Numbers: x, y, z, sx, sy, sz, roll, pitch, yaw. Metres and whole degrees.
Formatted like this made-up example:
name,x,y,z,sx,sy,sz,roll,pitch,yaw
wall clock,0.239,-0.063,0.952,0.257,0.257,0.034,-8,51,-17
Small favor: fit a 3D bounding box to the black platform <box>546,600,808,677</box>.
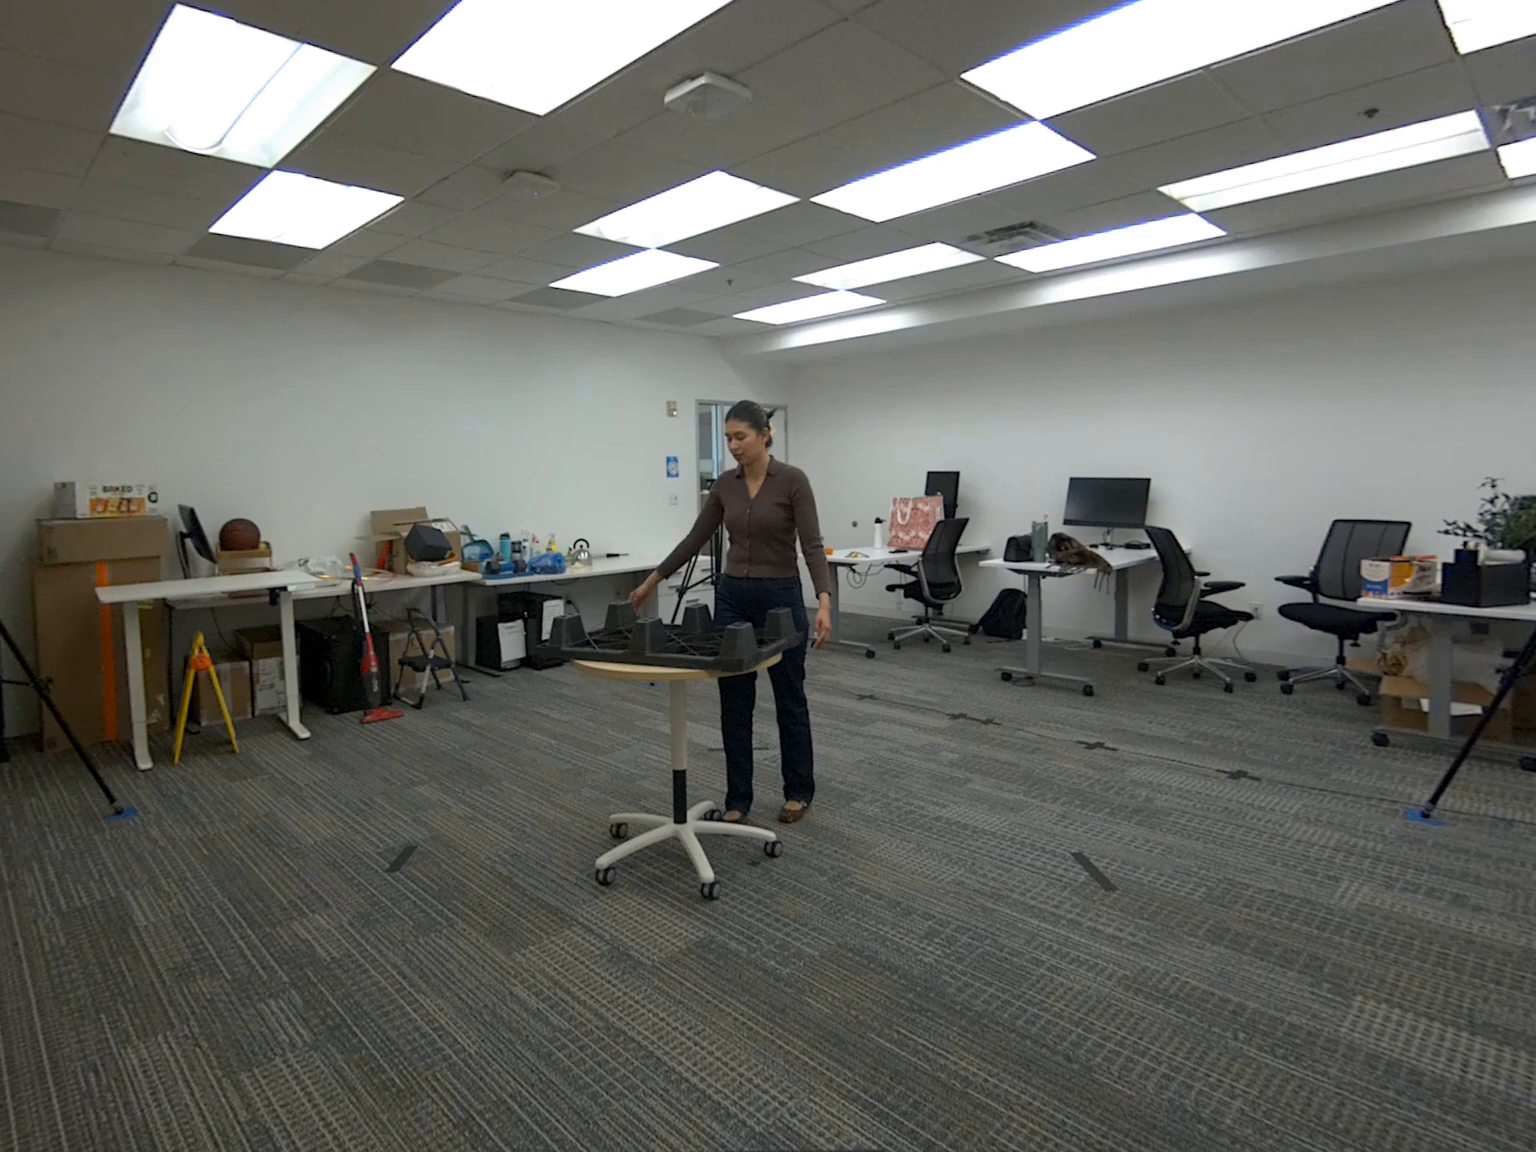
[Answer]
name,x,y,z,sx,sy,sz,roll,pitch,yaw
black platform,-0.335,0.203,3.119,0.824,0.143,0.594,2,7,23
